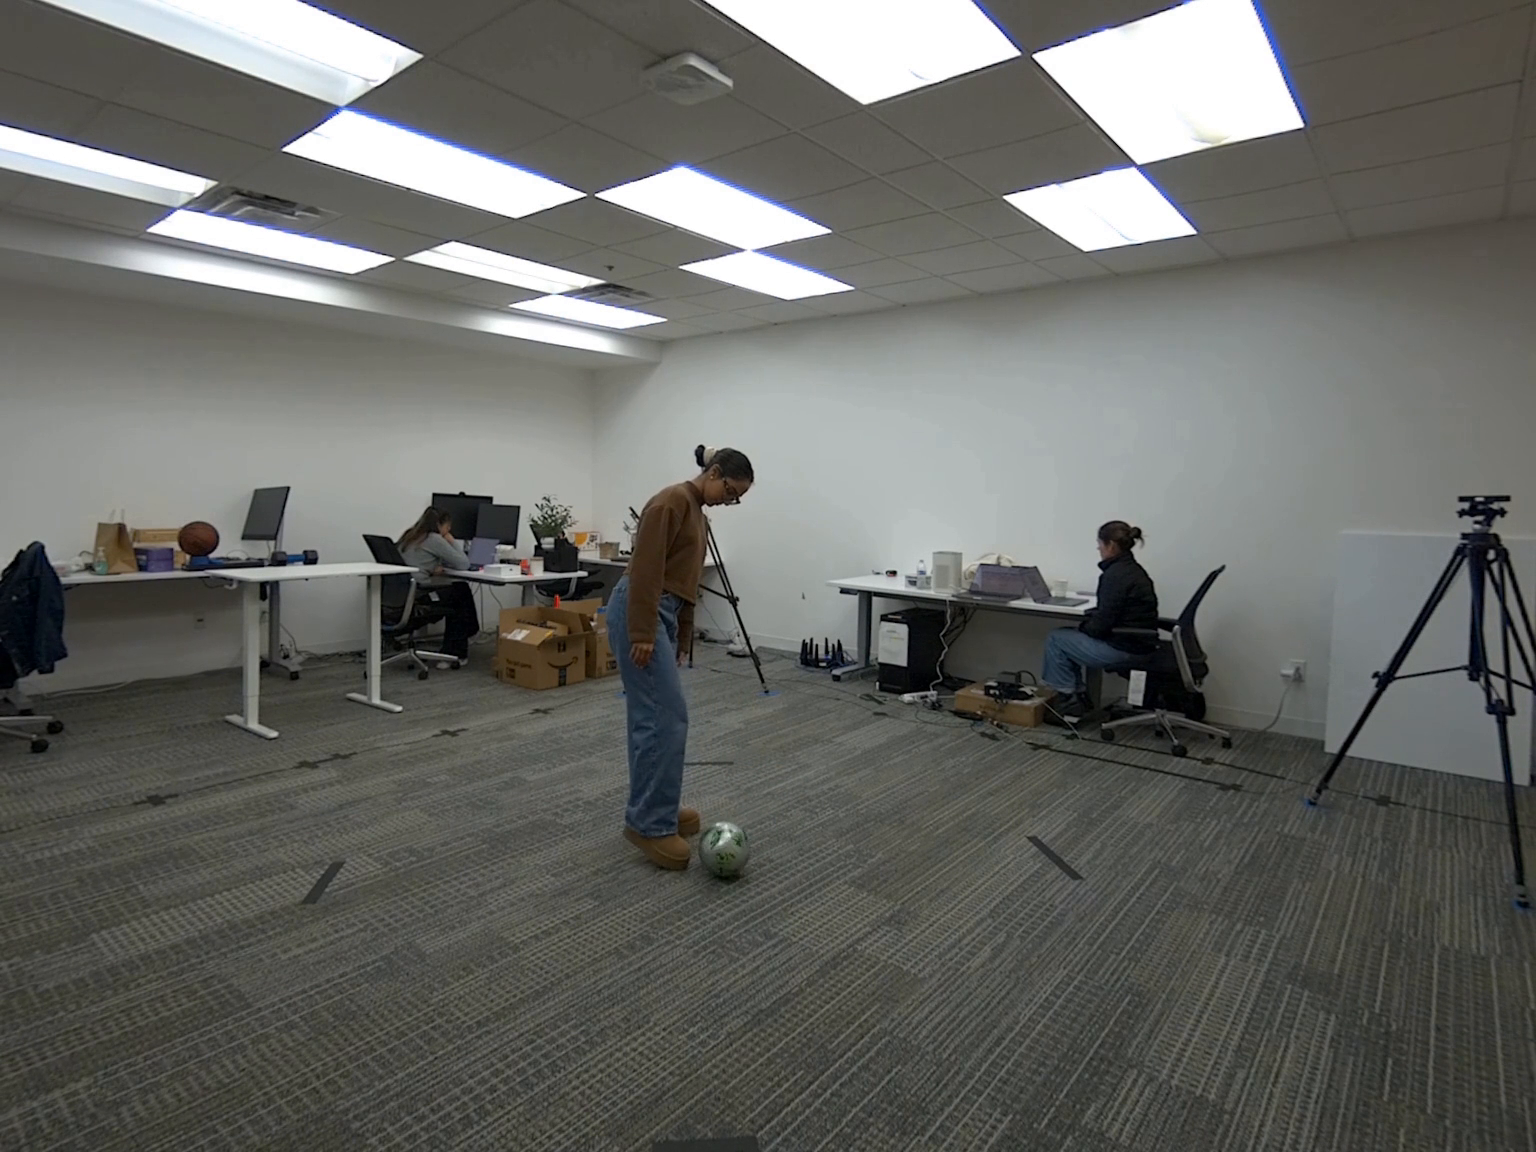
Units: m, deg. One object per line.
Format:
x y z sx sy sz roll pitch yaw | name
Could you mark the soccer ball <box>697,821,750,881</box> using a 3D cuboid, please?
-0.174 0.979 3.056 0.187 0.187 0.188 1 4 -2 | soccer ball
